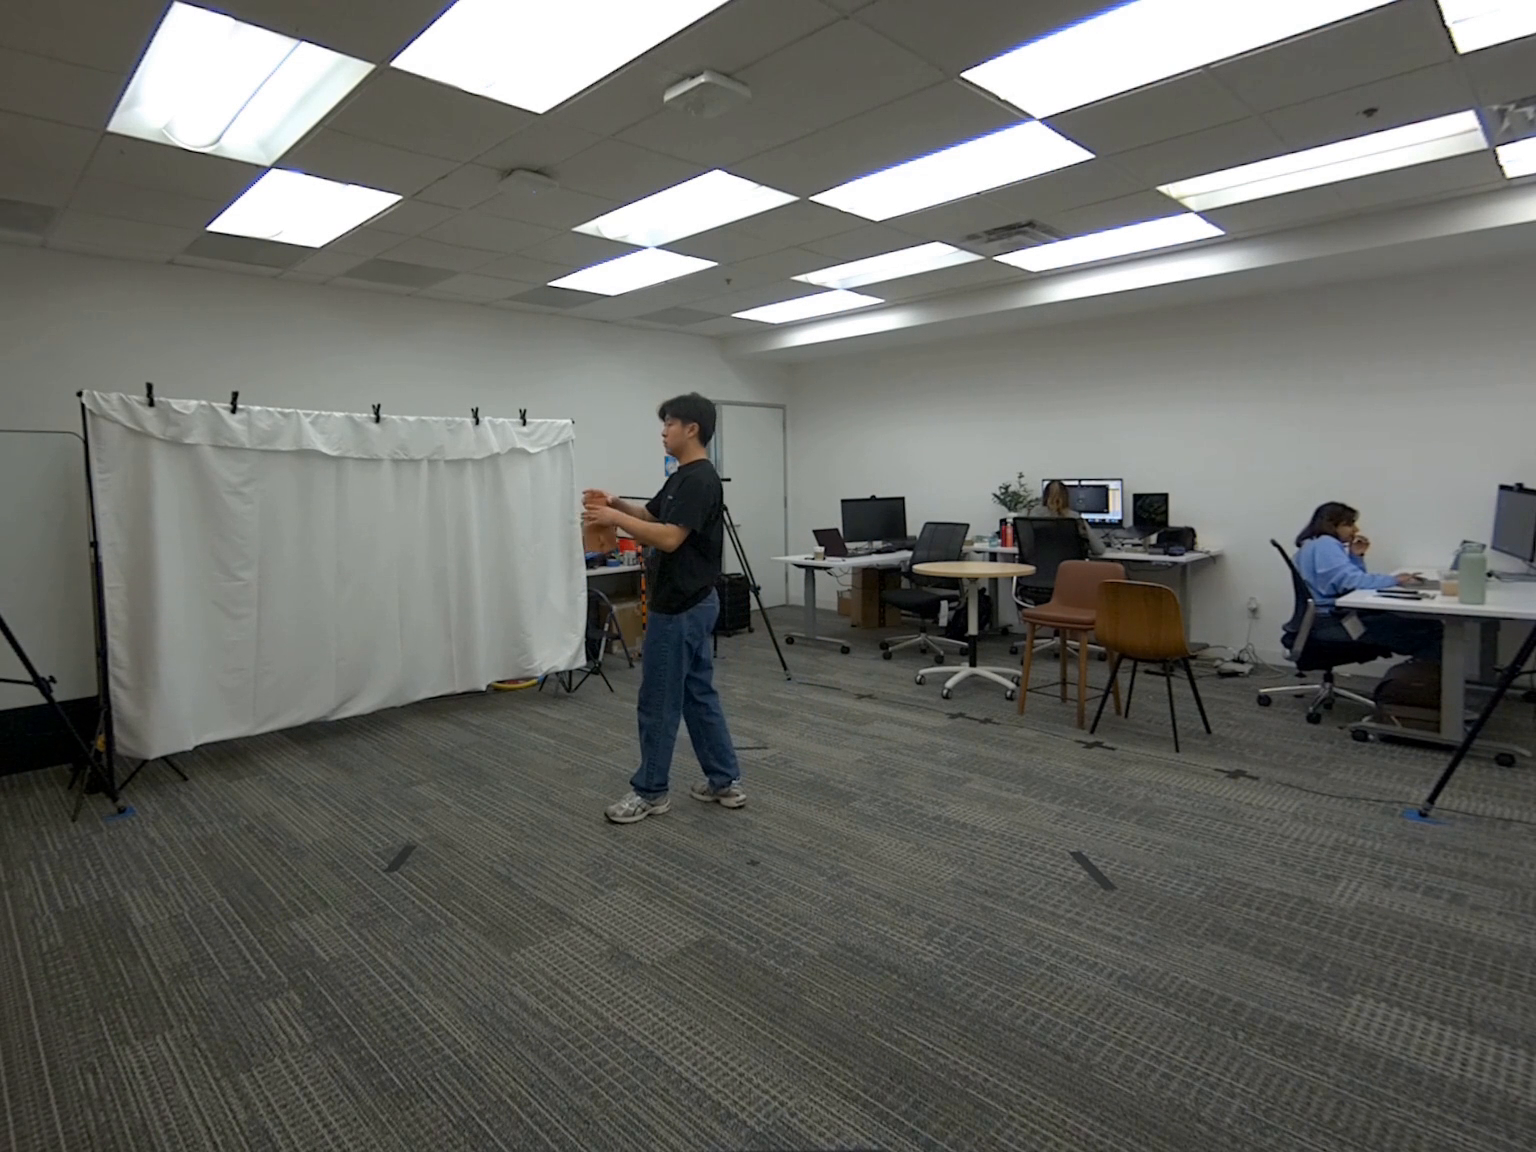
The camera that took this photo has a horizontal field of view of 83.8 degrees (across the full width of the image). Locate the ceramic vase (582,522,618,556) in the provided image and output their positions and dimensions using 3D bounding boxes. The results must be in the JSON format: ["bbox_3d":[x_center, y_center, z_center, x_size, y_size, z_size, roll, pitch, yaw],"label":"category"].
[{"bbox_3d":[-0.700,-0.215,3.566,0.163,0.219,0.131,-4,4,40],"label":"ceramic vase"}]
